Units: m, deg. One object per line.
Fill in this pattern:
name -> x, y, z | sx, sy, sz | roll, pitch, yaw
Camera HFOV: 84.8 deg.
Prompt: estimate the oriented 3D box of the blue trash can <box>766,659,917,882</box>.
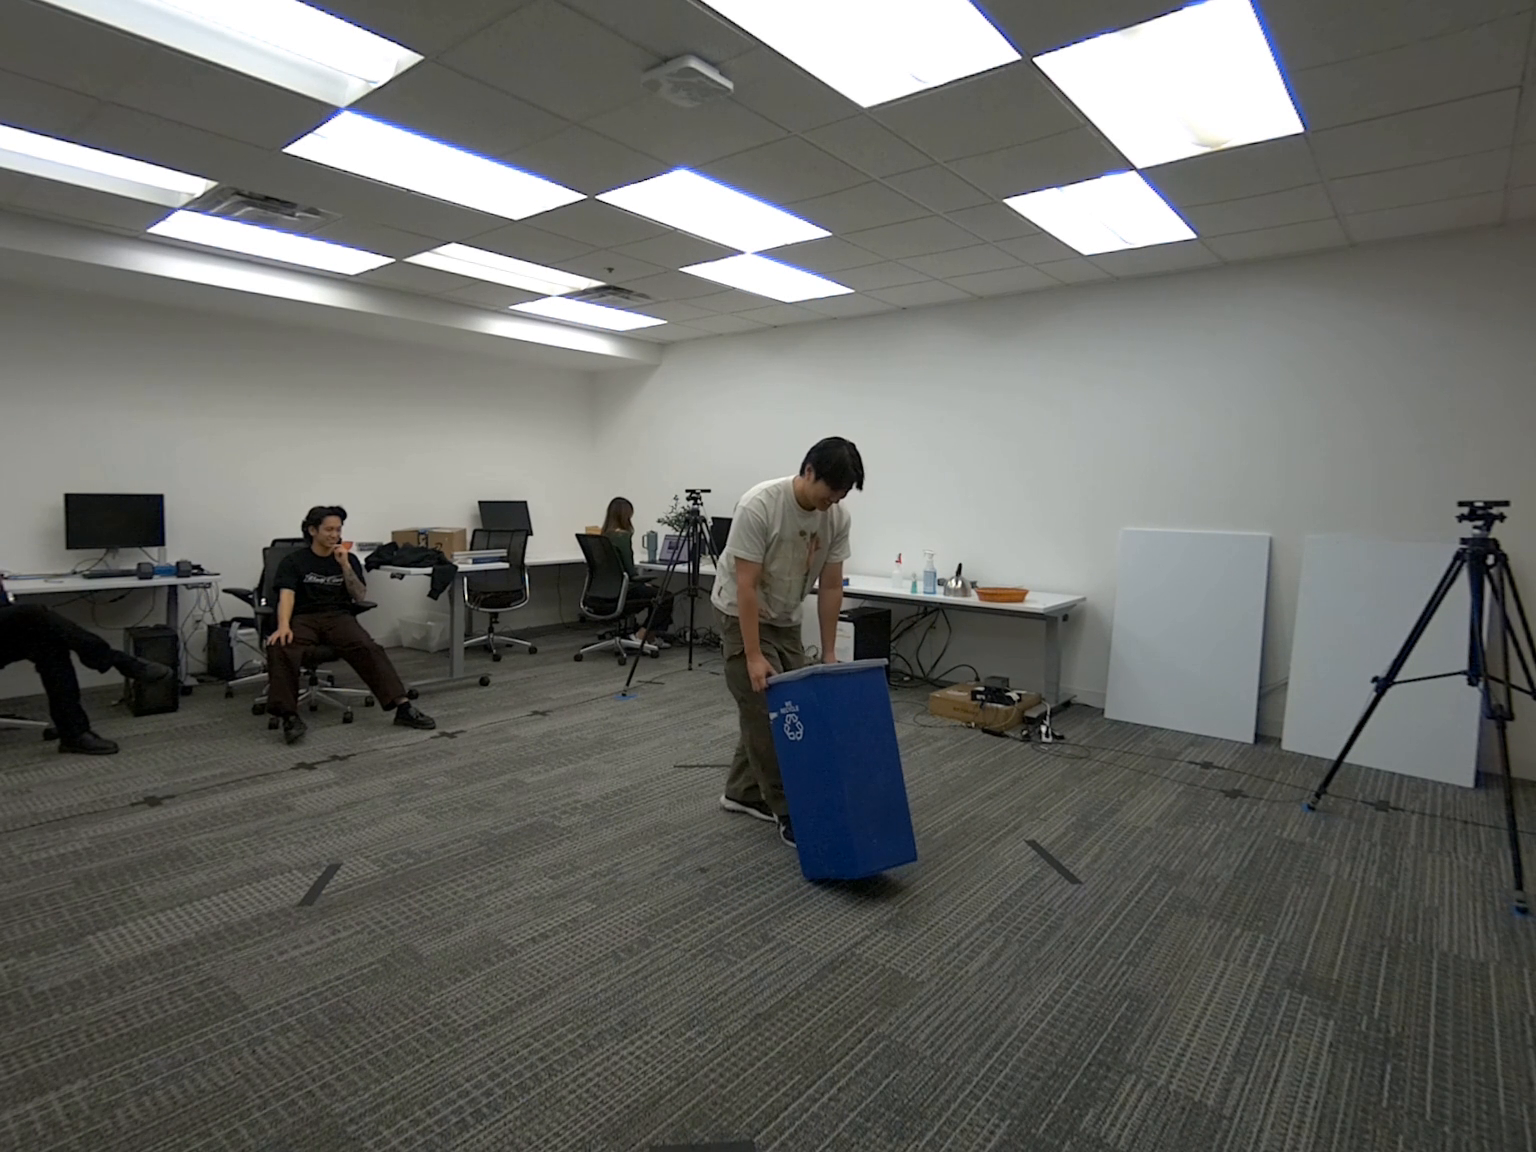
blue trash can -> 0.263, 0.693, 3.110 | 0.366, 0.726, 0.379 | 0, -18, -38
